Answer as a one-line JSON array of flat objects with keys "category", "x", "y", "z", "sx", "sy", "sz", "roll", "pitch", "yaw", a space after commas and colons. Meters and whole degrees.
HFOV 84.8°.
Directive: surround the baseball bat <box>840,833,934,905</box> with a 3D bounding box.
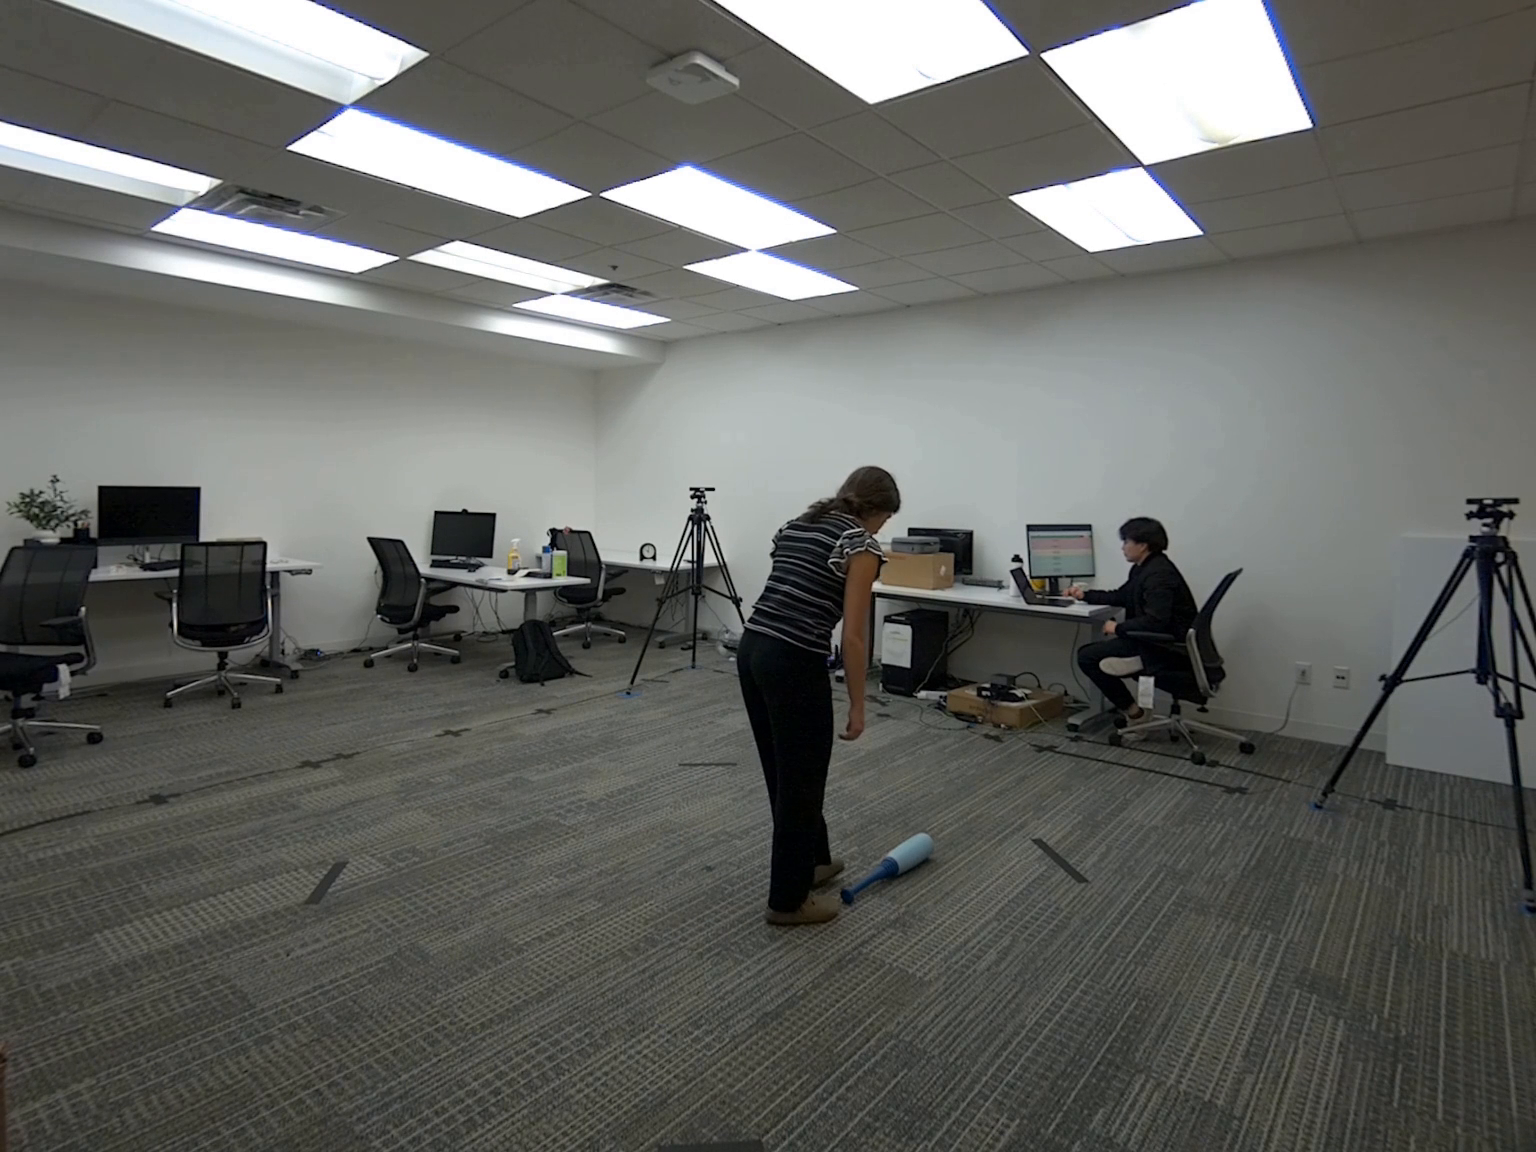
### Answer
[{"category": "baseball bat", "x": 0.429, "y": 1.051, "z": 3.063, "sx": 0.092, "sy": 0.088, "sz": 0.528, "roll": 4, "pitch": 10, "yaw": 41}]
